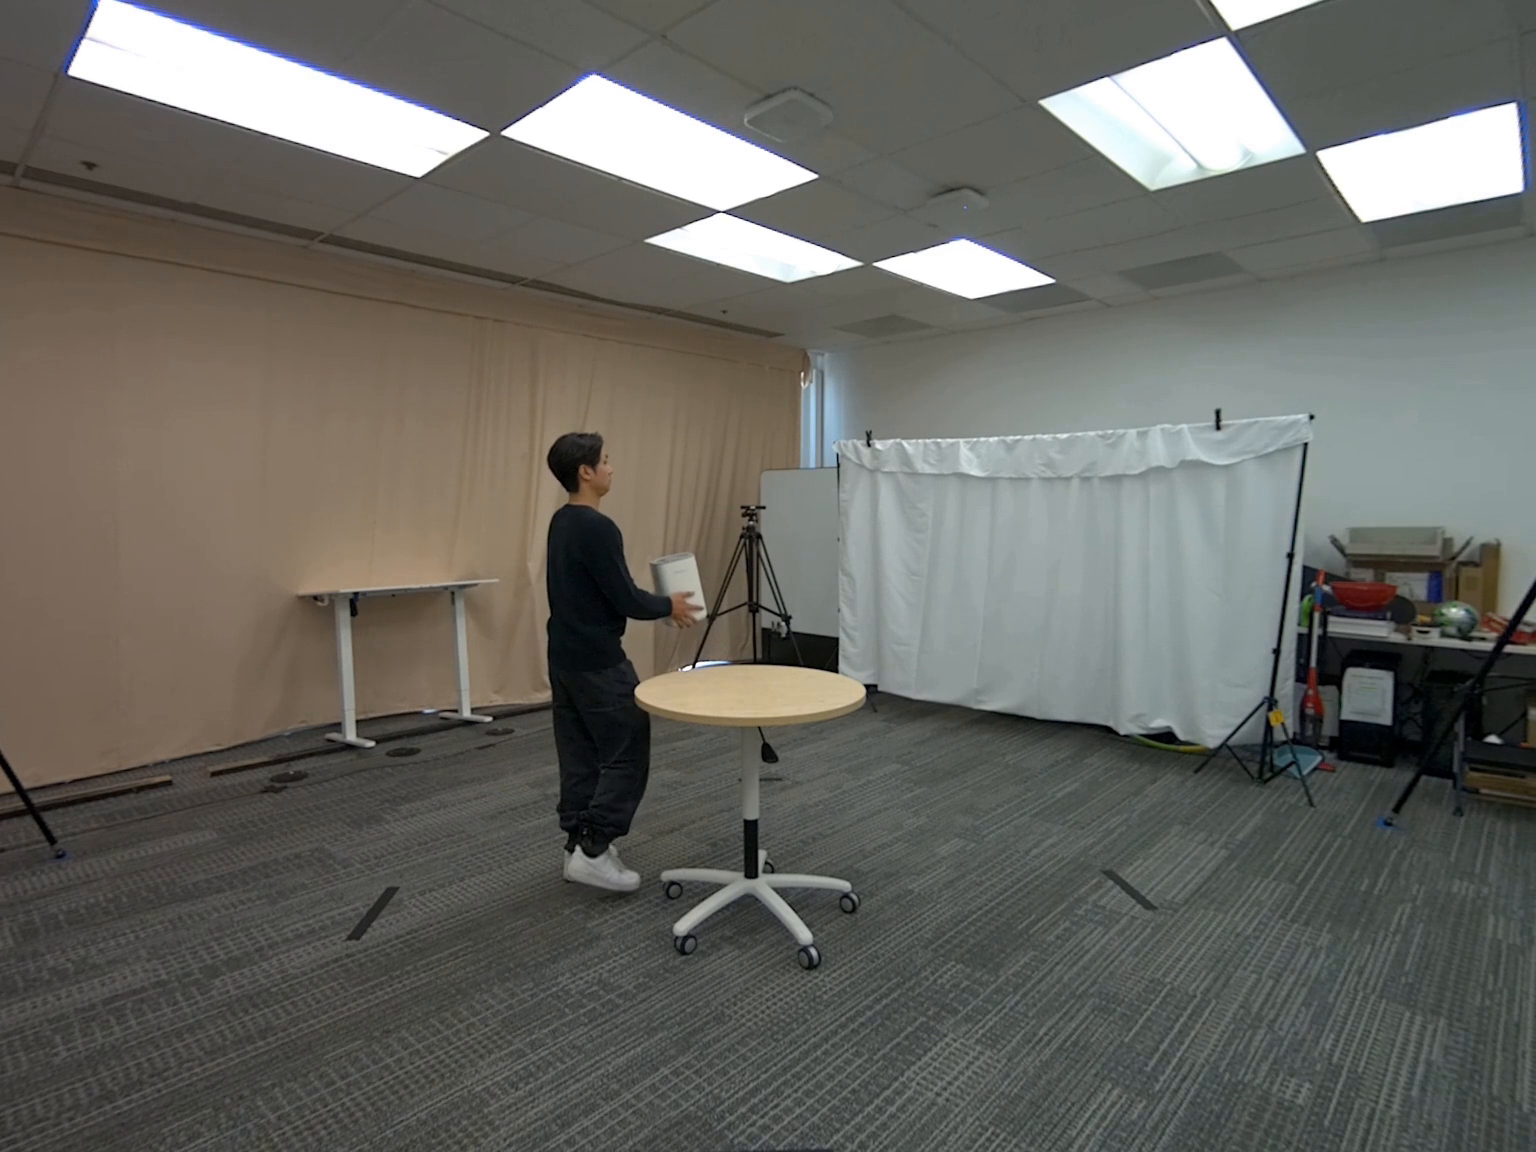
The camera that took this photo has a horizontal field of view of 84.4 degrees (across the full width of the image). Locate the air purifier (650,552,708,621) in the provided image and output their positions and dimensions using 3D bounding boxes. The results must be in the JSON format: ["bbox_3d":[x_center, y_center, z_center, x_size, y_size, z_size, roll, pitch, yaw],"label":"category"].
[{"bbox_3d":[-0.354,0.056,3.335,0.168,0.264,0.175,-14,8,-19],"label":"air purifier"}]
